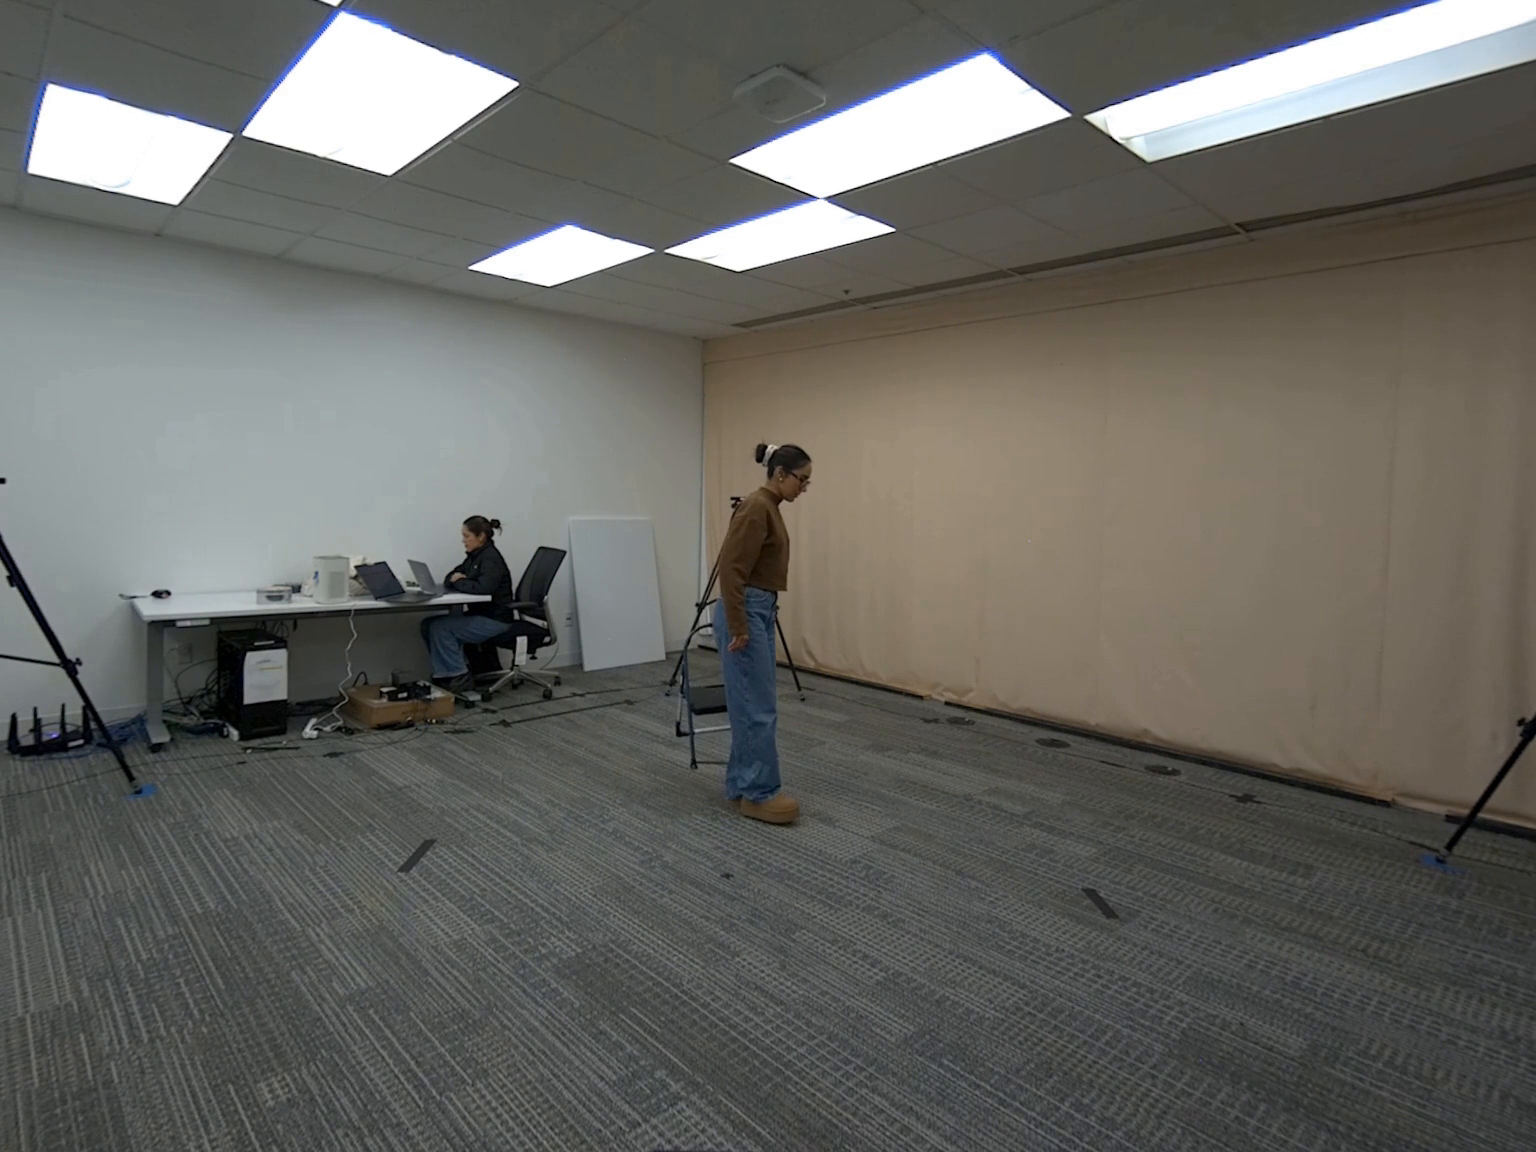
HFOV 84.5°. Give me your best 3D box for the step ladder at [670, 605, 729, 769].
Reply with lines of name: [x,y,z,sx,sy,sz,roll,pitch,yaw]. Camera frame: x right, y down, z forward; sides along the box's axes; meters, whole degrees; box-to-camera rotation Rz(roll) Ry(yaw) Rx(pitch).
step ladder: [-0.207,0.535,4.004,0.425,0.600,0.357,-3,15,-19]
